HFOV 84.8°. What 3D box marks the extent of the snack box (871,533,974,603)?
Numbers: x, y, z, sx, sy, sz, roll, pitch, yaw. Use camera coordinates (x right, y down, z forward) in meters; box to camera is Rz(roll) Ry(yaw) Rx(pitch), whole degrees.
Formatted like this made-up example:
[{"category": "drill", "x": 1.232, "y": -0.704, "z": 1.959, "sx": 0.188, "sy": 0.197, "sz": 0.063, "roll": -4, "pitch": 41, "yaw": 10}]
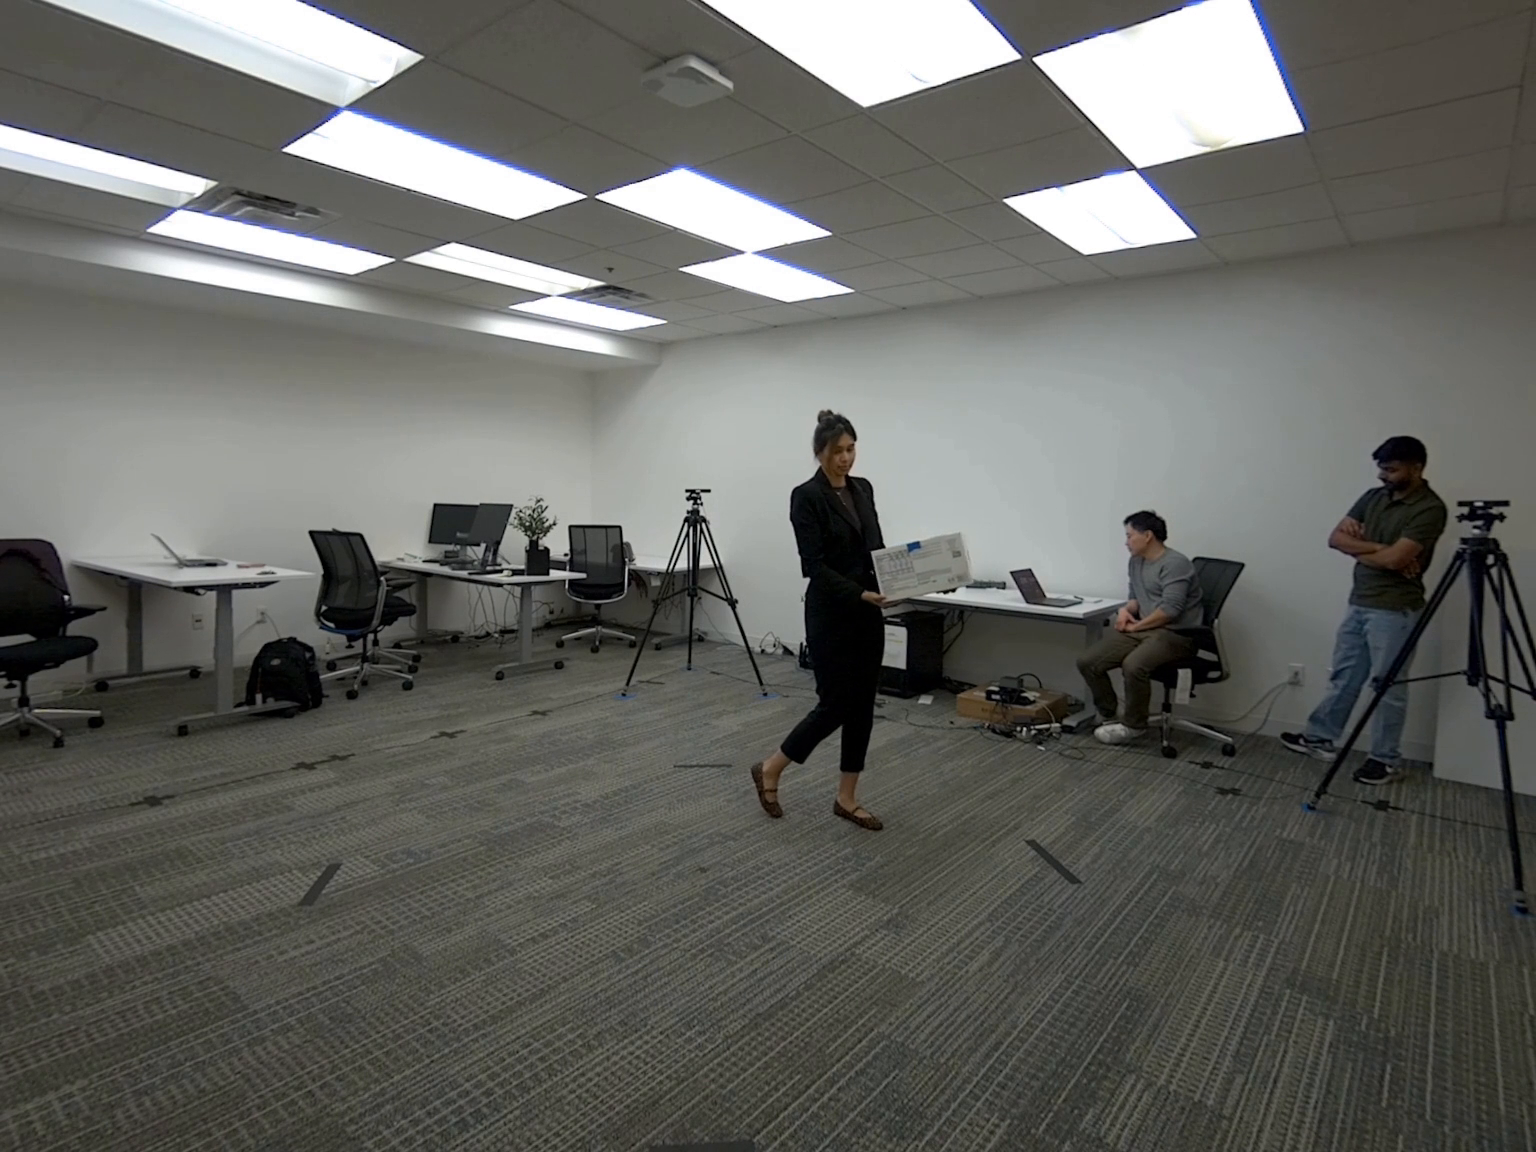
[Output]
[{"category": "snack box", "x": 0.607, "y": -0.041, "z": 3.378, "sx": 0.345, "sy": 0.206, "sz": 0.399, "roll": -13, "pitch": -1, "yaw": 16}]
